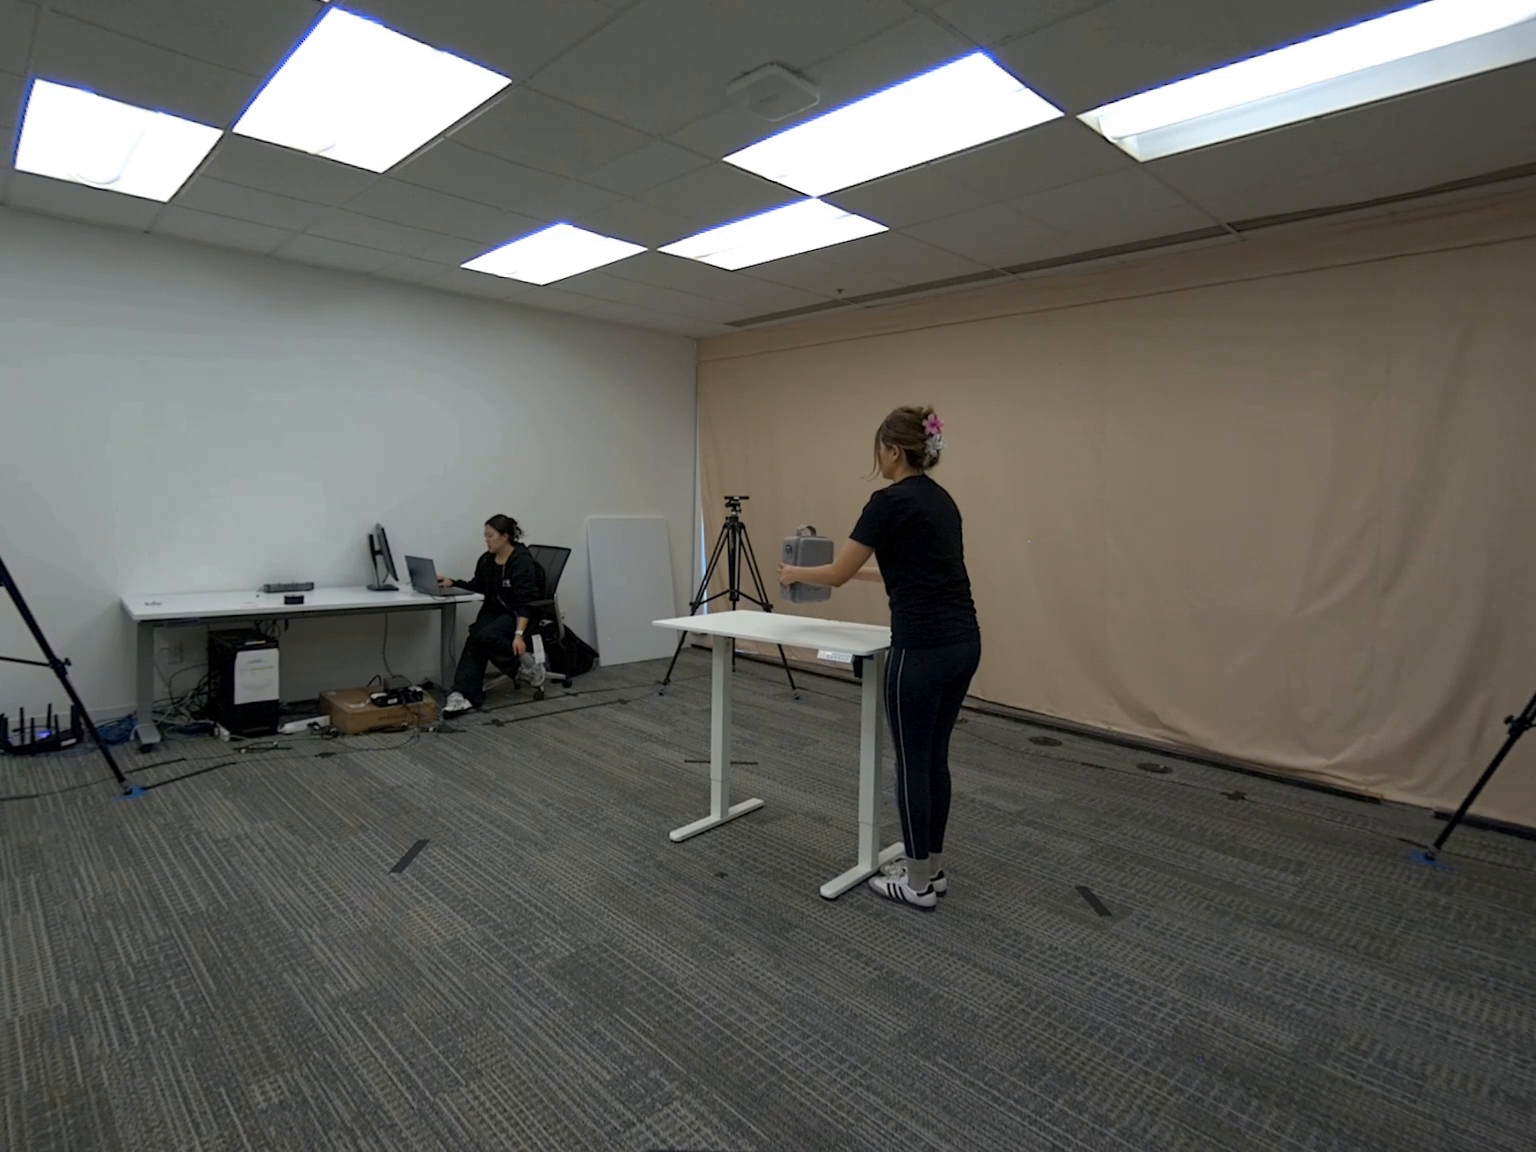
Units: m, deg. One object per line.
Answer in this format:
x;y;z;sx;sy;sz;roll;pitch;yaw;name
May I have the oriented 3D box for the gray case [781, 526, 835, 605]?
0.144;-0.030;3.277;0.107;0.260;0.251;7;2;32;gray case
